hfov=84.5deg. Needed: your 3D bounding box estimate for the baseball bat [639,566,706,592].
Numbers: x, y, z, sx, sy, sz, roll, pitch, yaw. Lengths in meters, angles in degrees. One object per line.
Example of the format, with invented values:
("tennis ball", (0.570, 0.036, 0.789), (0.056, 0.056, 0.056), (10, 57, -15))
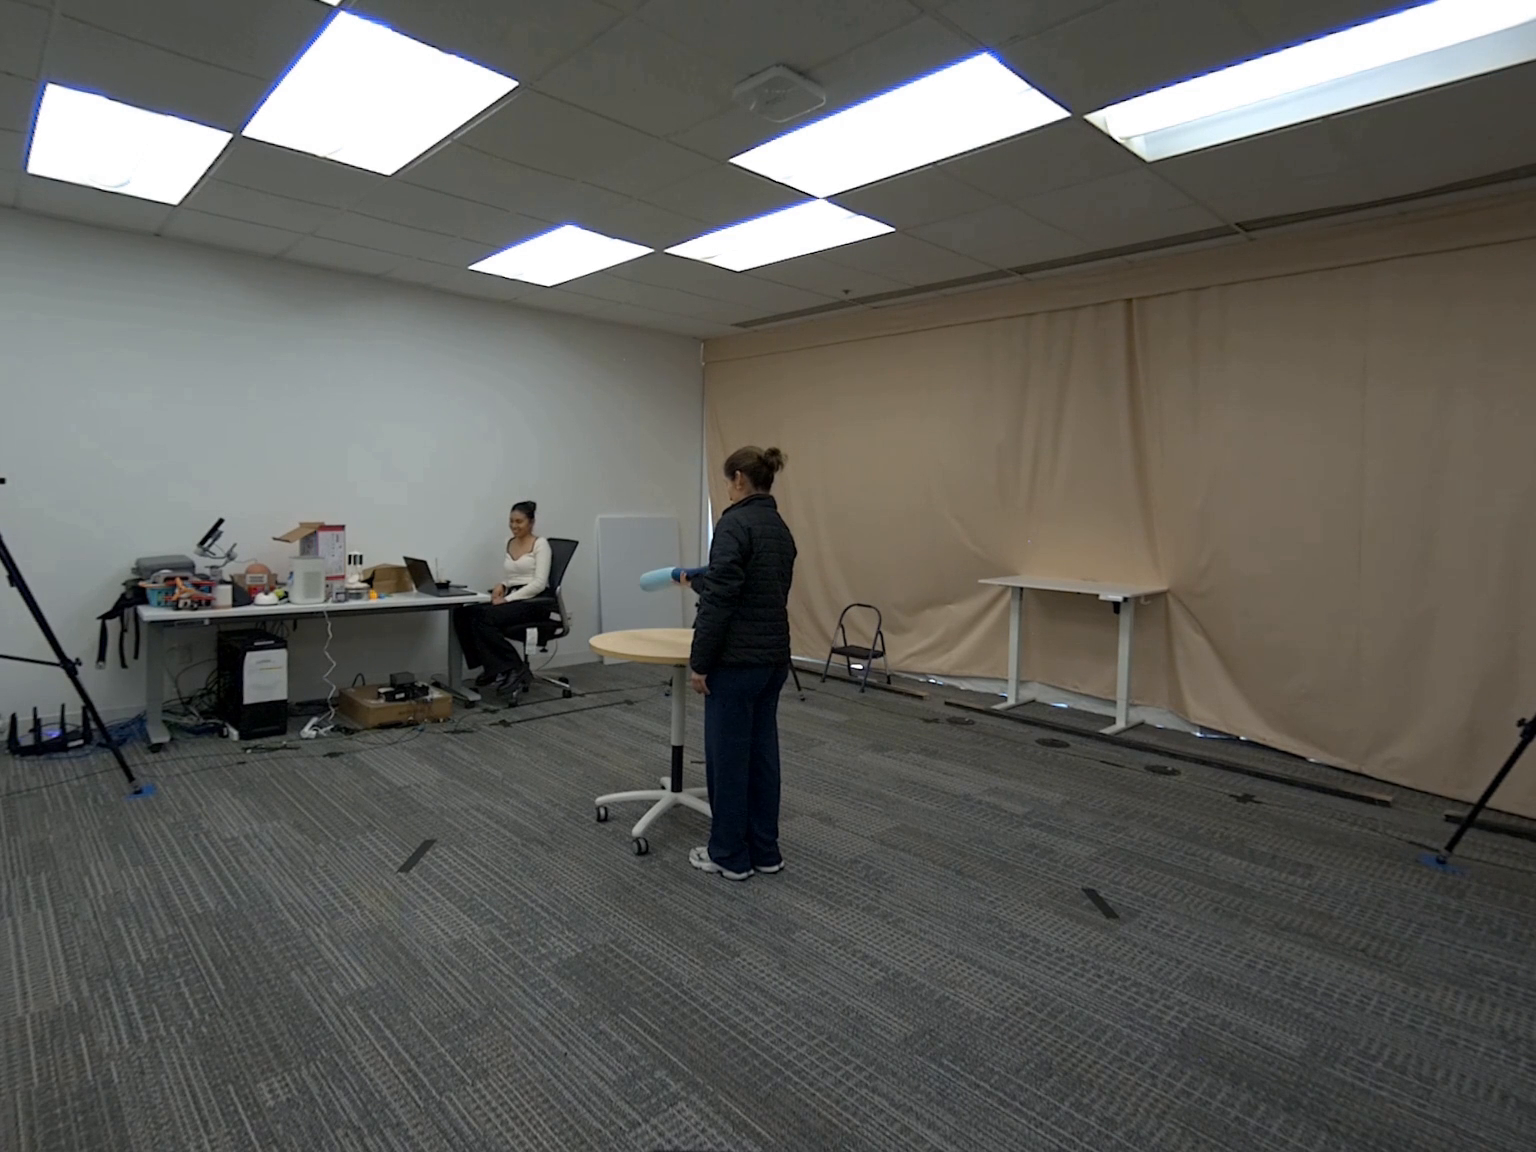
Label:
("baseball bat", (-0.367, 0.000, 3.521), (0.087, 0.089, 0.553), (-2, -6, -40))
